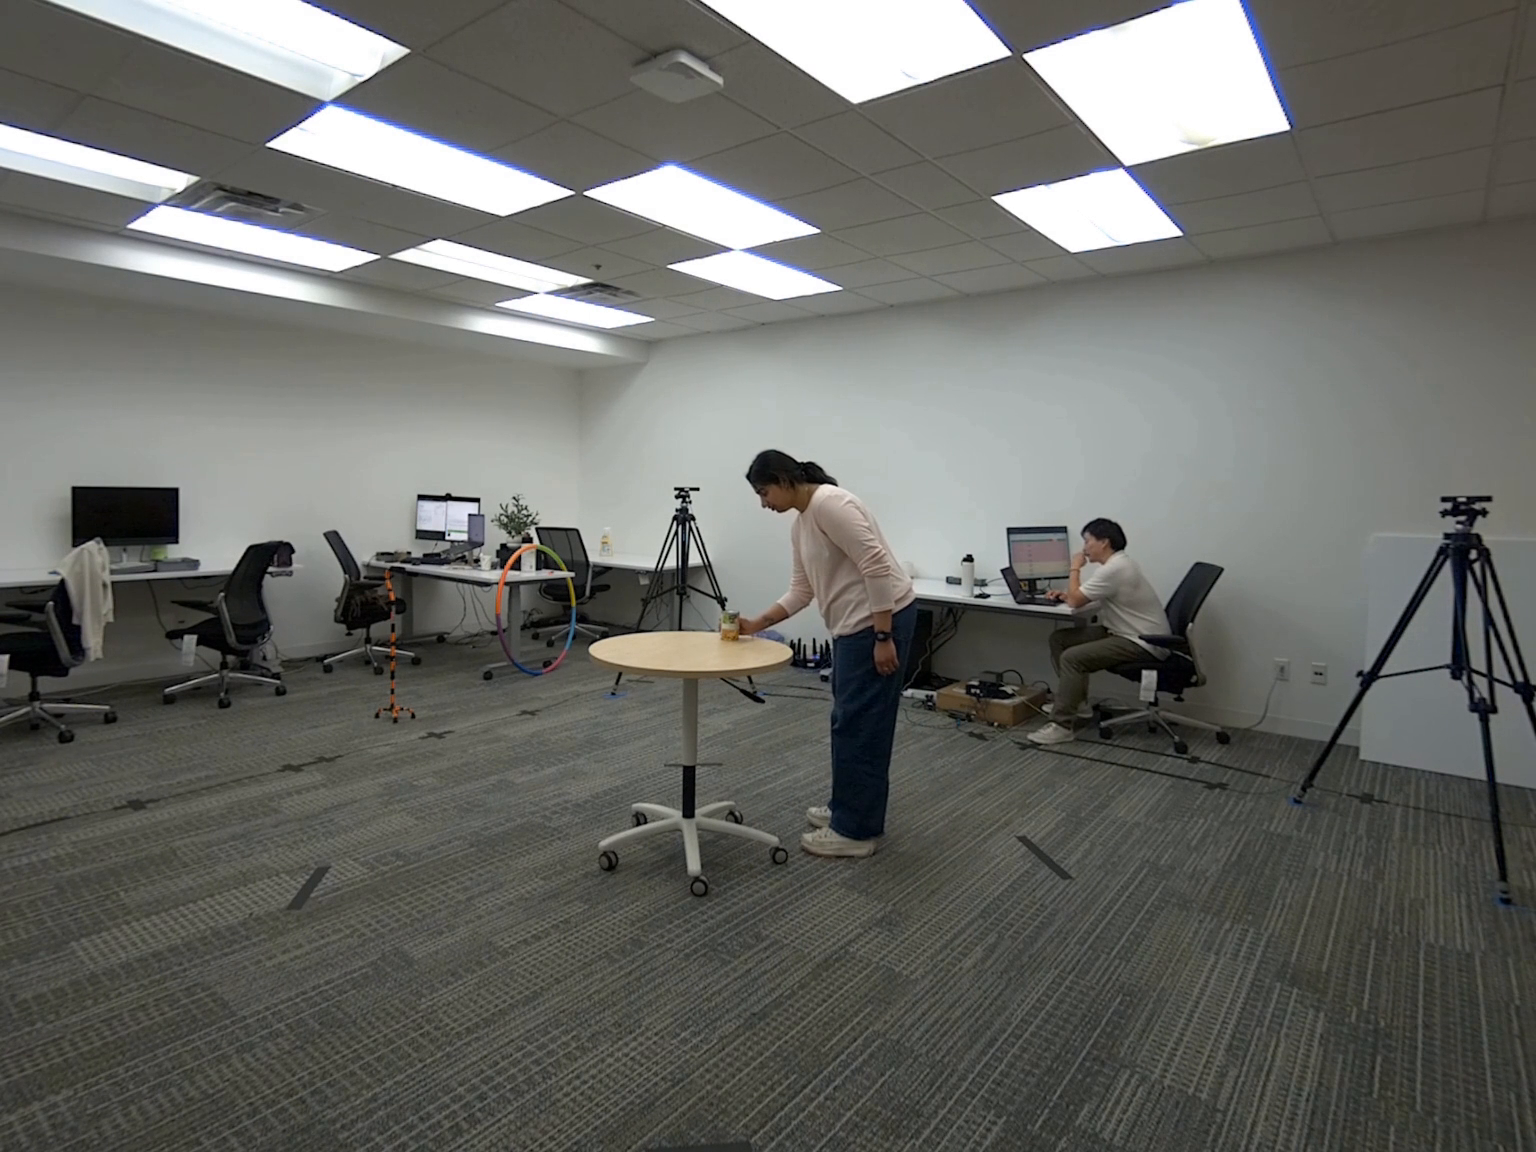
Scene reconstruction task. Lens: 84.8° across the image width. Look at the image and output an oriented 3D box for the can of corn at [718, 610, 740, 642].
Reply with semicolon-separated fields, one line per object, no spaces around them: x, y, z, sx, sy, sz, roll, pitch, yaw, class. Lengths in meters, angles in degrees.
-0.160;0.198;3.432;0.074;0.111;0.074;4;1;-2;can of corn
